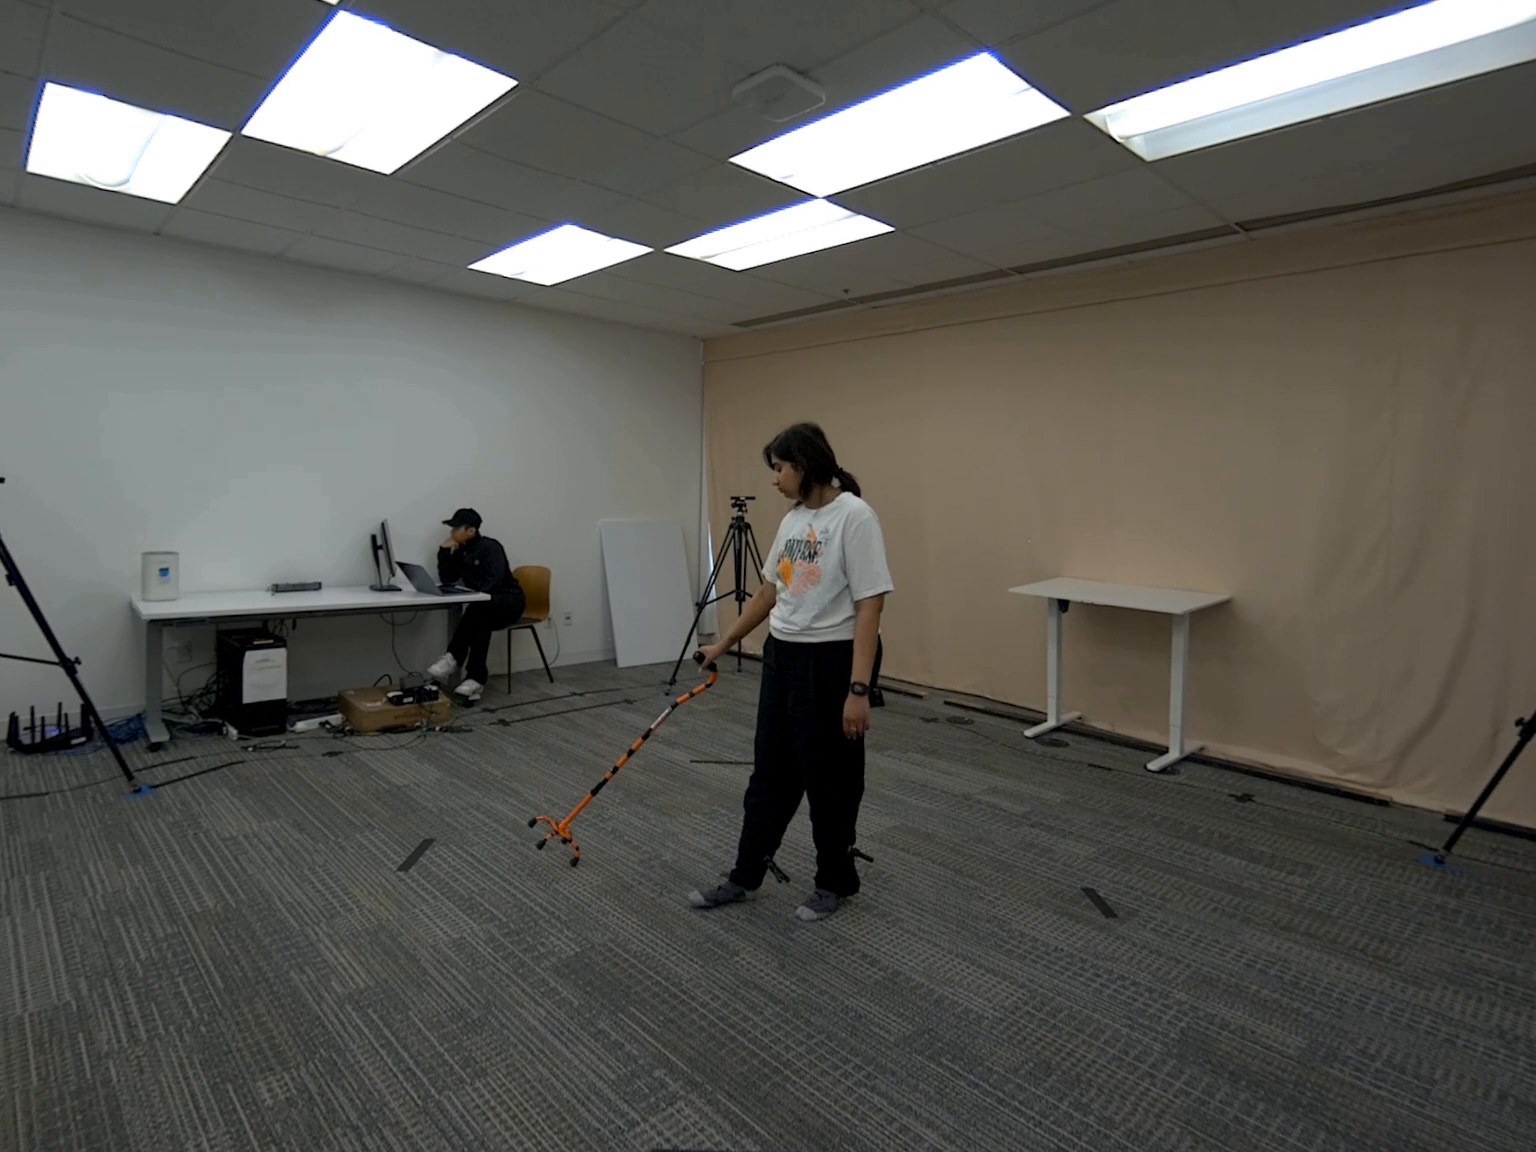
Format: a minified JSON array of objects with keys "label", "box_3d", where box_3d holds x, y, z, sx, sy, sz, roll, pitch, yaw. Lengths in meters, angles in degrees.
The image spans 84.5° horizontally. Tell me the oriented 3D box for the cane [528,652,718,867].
[{"label":"cane","box_3d":[-0.514,0.669,3.154,0.200,0.908,0.156,43,-2,-36]}]
